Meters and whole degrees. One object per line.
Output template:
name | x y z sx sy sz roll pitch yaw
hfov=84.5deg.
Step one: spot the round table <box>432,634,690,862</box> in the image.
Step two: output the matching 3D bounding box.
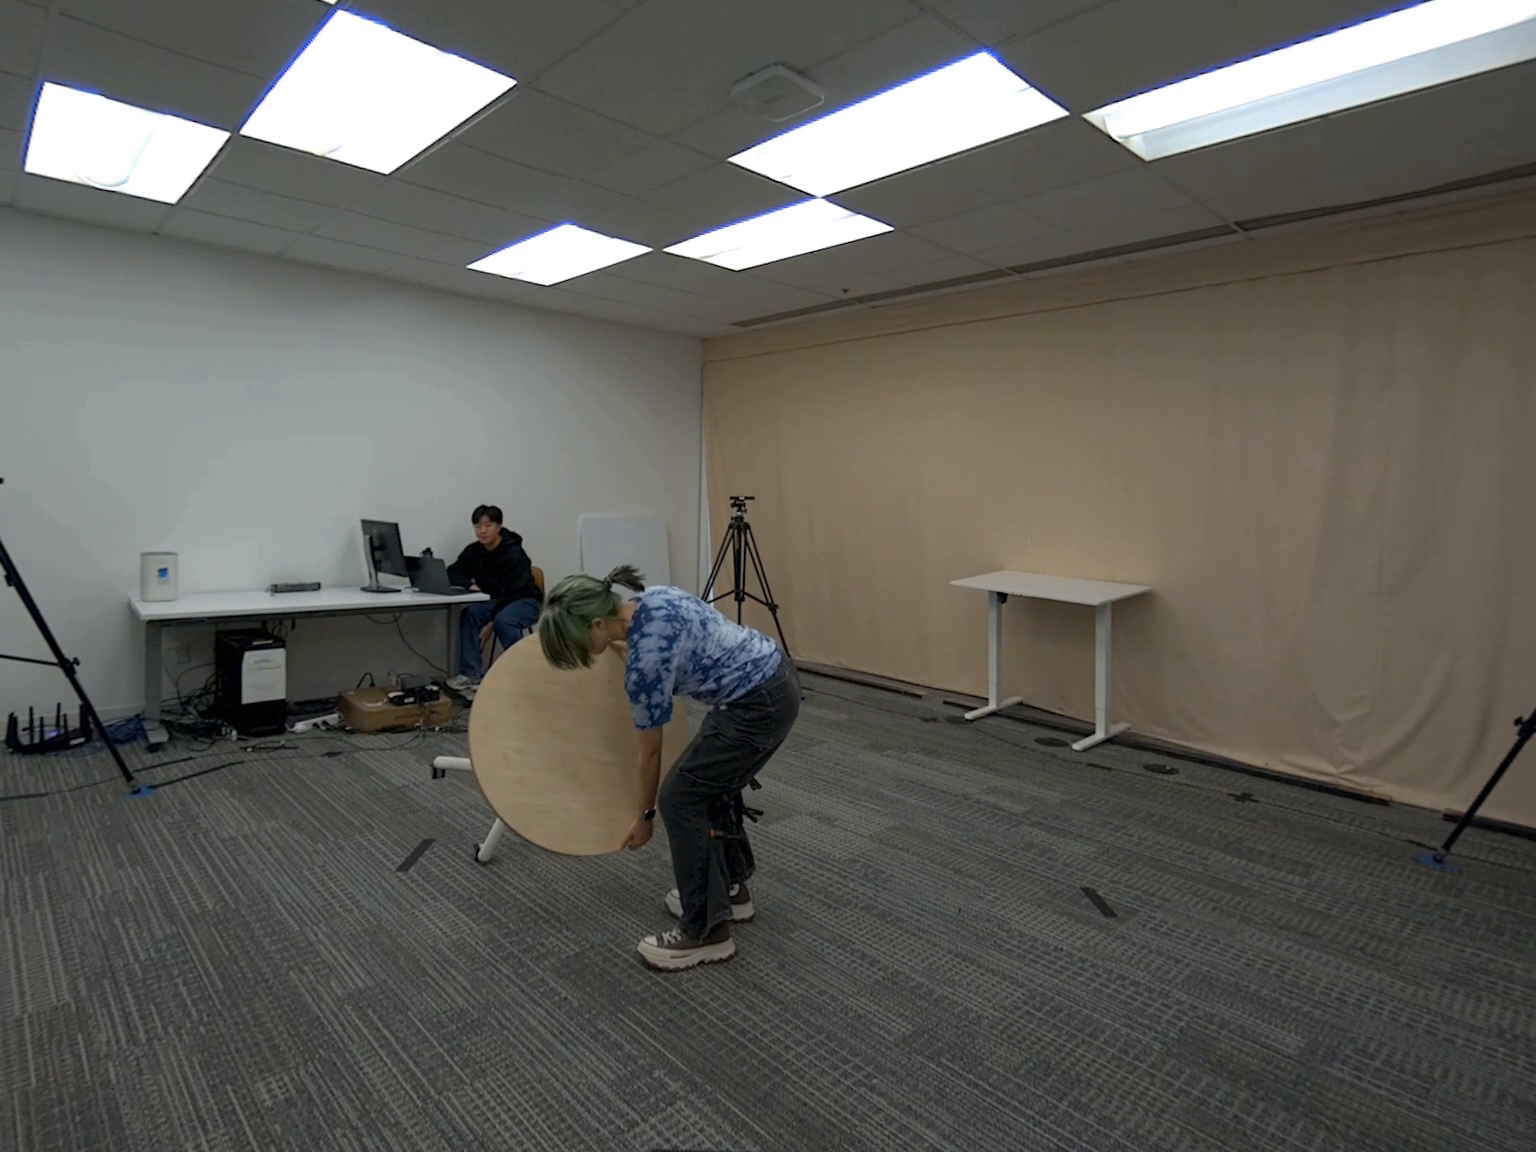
round table | -0.814 0.671 3.100 0.748 0.777 0.797 -1 -23 -34
